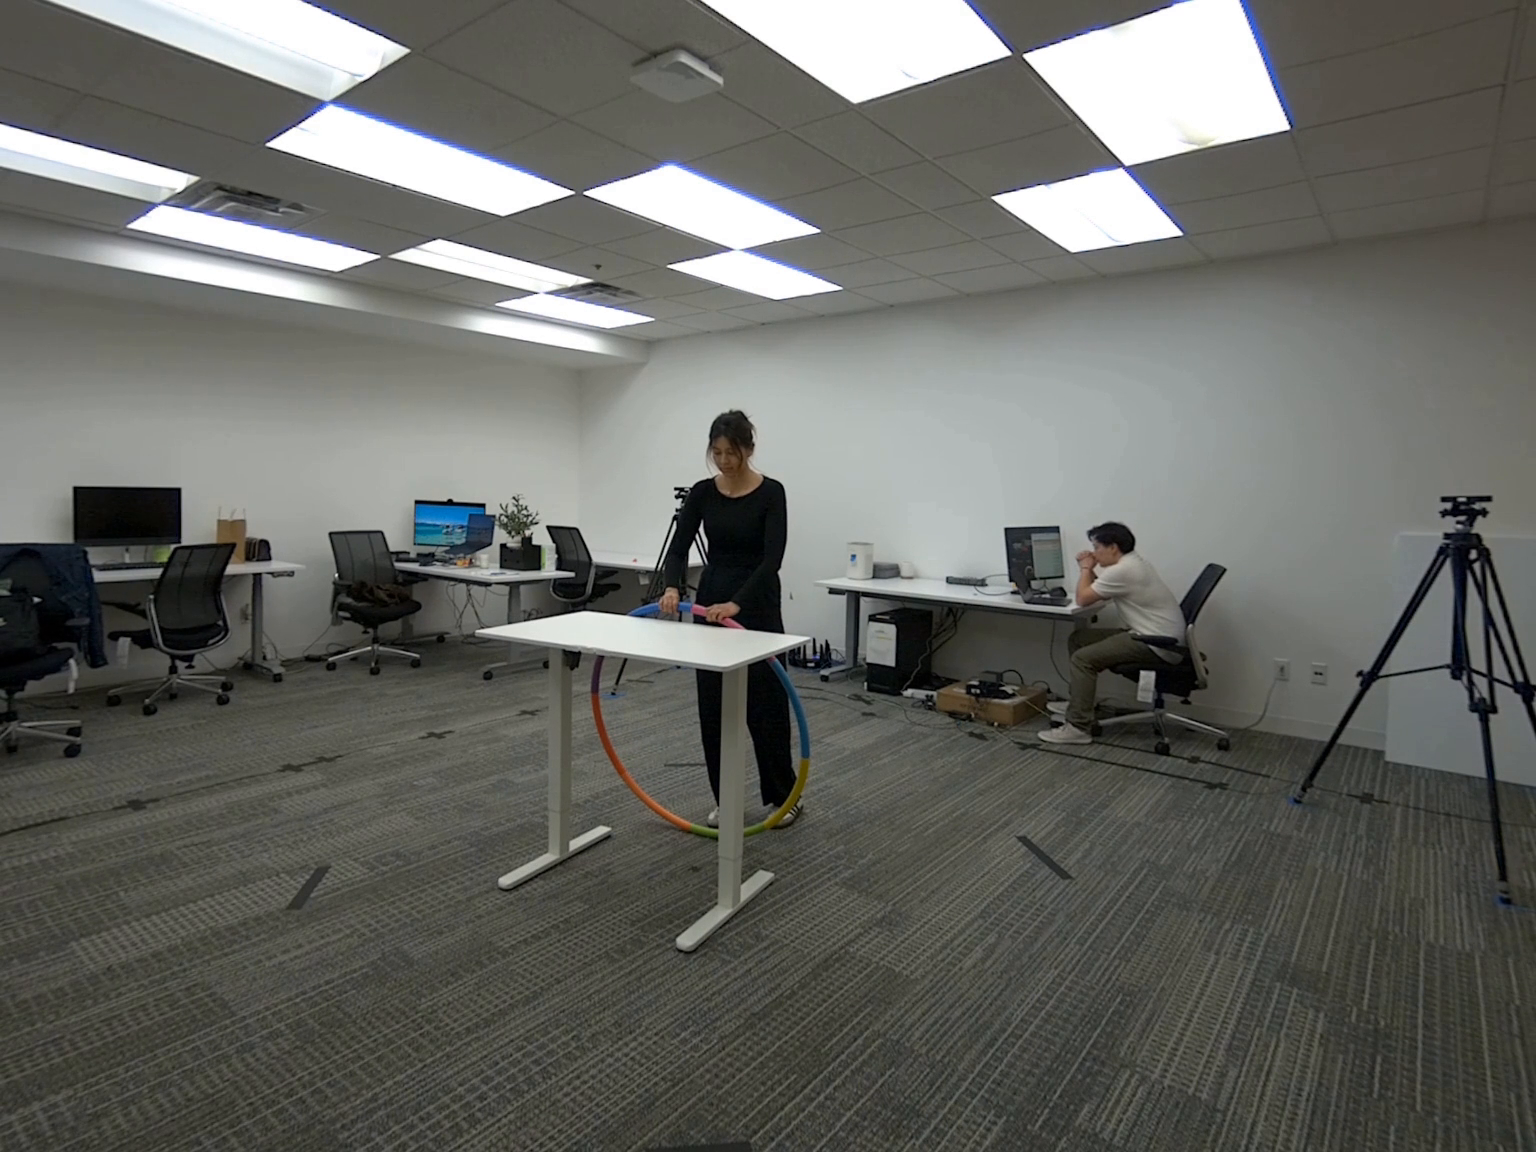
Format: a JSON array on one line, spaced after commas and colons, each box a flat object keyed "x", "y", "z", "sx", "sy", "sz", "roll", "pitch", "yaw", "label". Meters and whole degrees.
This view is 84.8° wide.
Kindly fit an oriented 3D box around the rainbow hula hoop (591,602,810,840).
[{"x": -0.299, "y": 0.563, "z": 3.315, "sx": 1.007, "sy": 0.965, "sz": 0.035, "roll": 3, "pitch": 15, "yaw": 31, "label": "rainbow hula hoop"}]
